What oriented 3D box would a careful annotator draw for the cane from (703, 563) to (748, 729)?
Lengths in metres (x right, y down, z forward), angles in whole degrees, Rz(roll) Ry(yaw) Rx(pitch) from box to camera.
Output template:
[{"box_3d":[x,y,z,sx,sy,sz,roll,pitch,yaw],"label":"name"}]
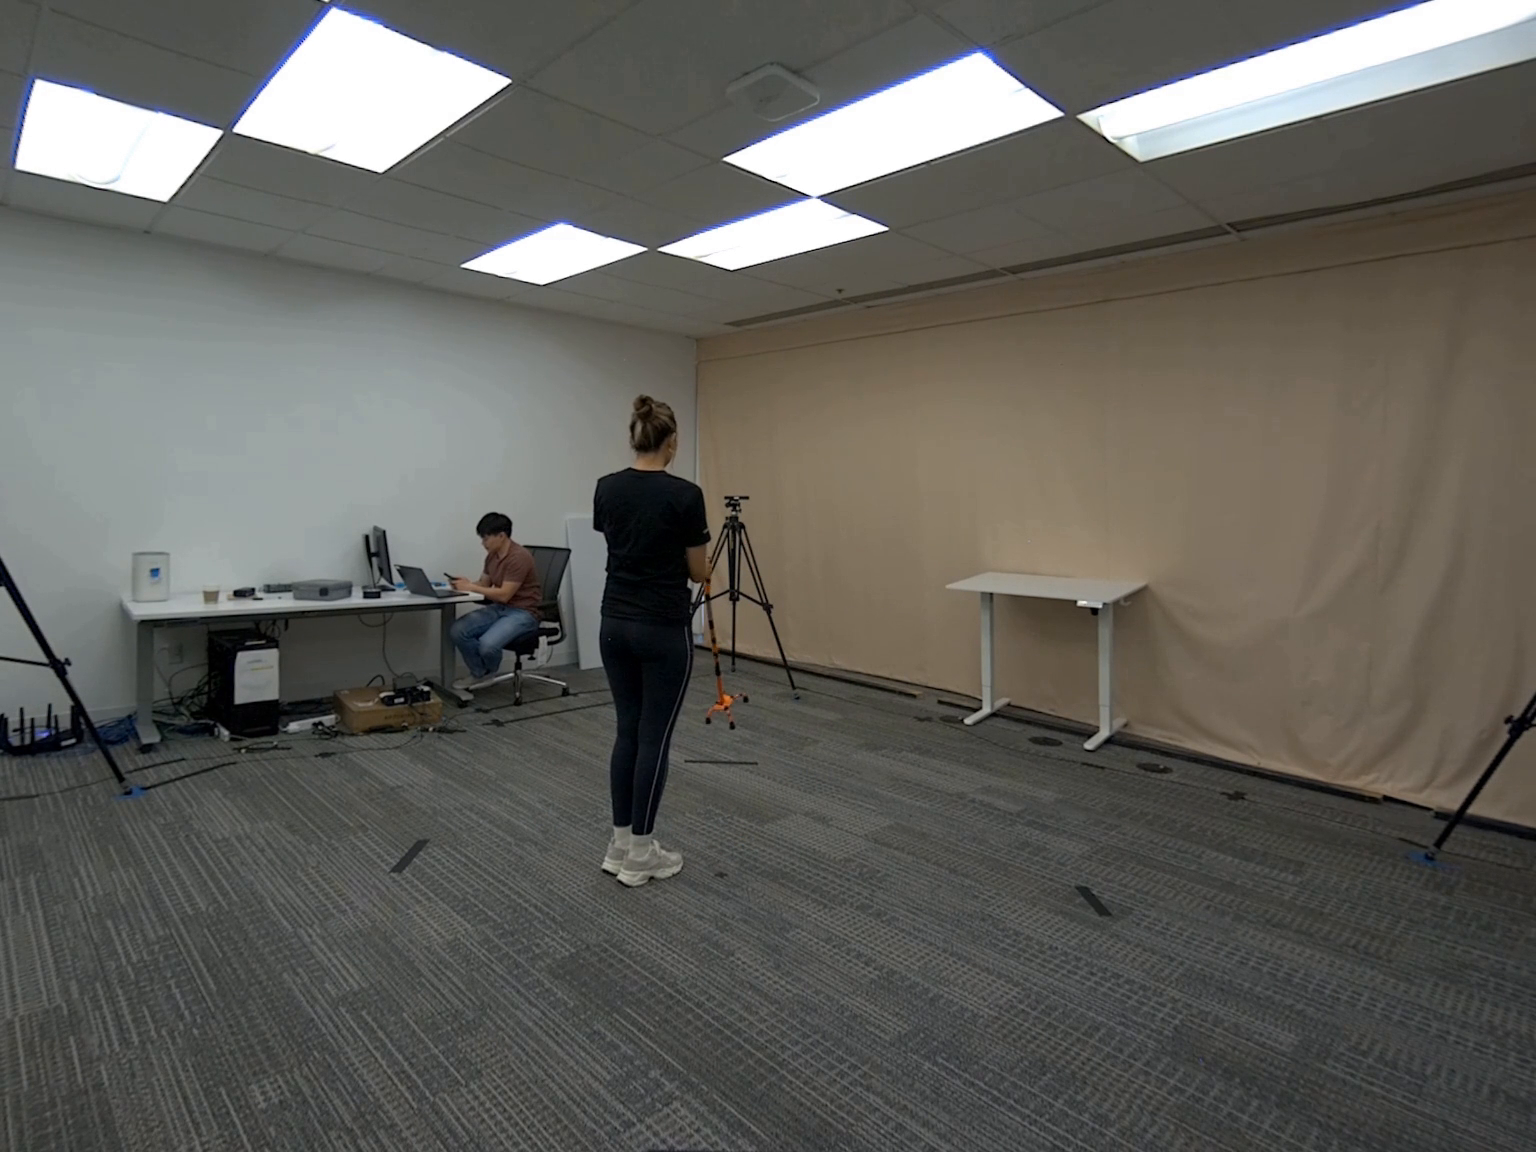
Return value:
[{"box_3d":[-0.231,0.291,3.725,0.154,0.887,0.207,10,38,20],"label":"cane"}]
